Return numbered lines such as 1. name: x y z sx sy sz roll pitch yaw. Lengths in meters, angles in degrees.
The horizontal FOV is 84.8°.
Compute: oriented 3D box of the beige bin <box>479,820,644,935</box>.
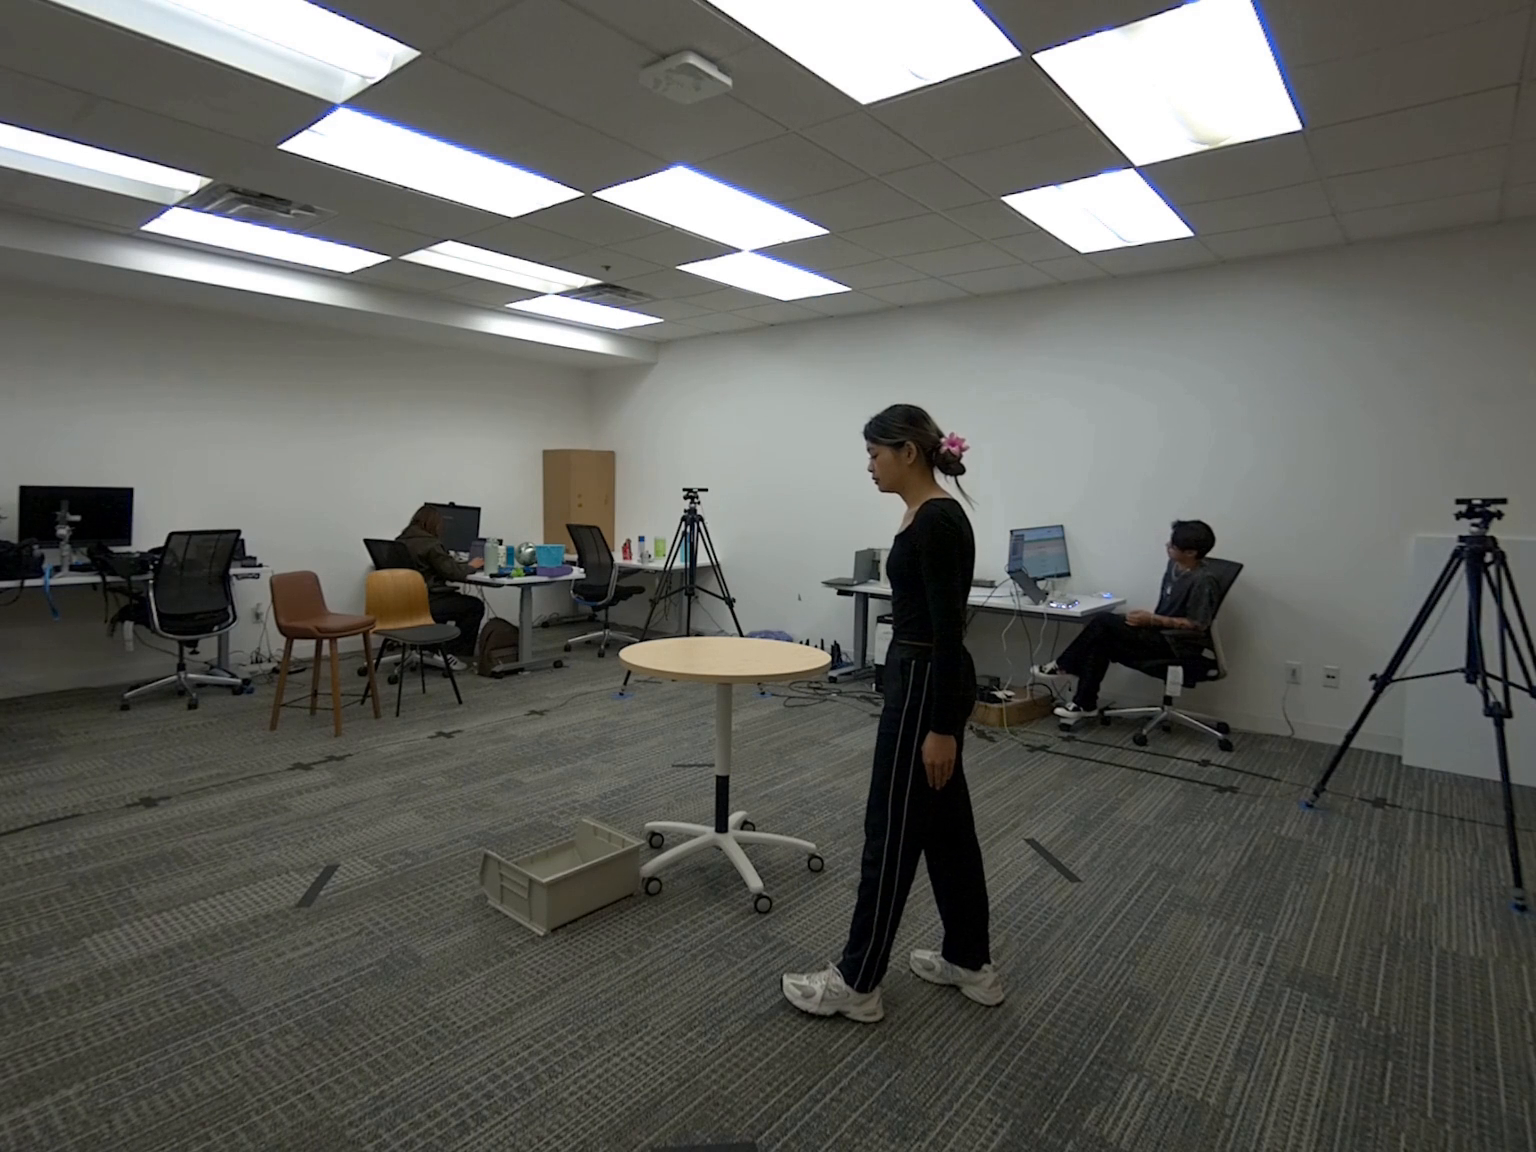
1. beige bin: -0.710 0.998 2.884 0.390 0.188 0.410 6 7 40
